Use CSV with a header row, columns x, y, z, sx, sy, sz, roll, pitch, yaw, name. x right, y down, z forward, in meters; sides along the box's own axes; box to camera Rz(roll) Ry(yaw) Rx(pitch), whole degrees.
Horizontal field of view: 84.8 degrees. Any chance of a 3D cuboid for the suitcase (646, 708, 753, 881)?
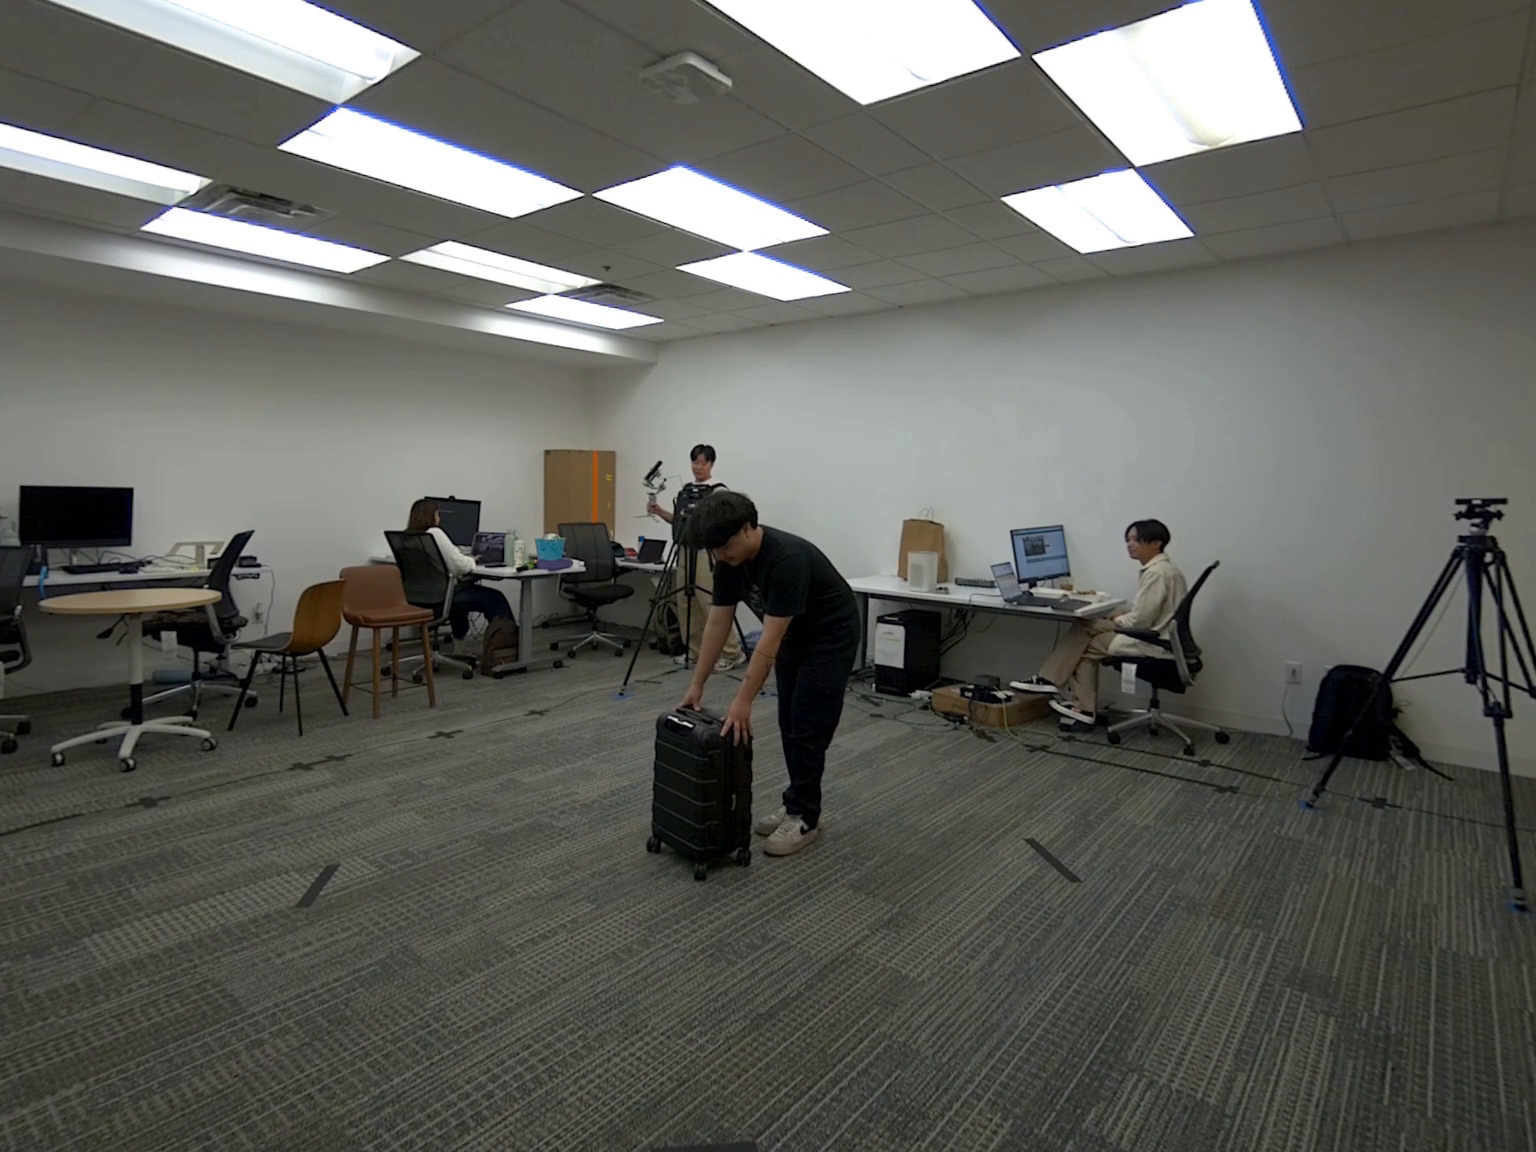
x,y,z,sx,sy,sz,roll,pitch,yaw,name
-0.266,0.788,3.218,0.240,0.549,0.388,1,1,-40,suitcase
